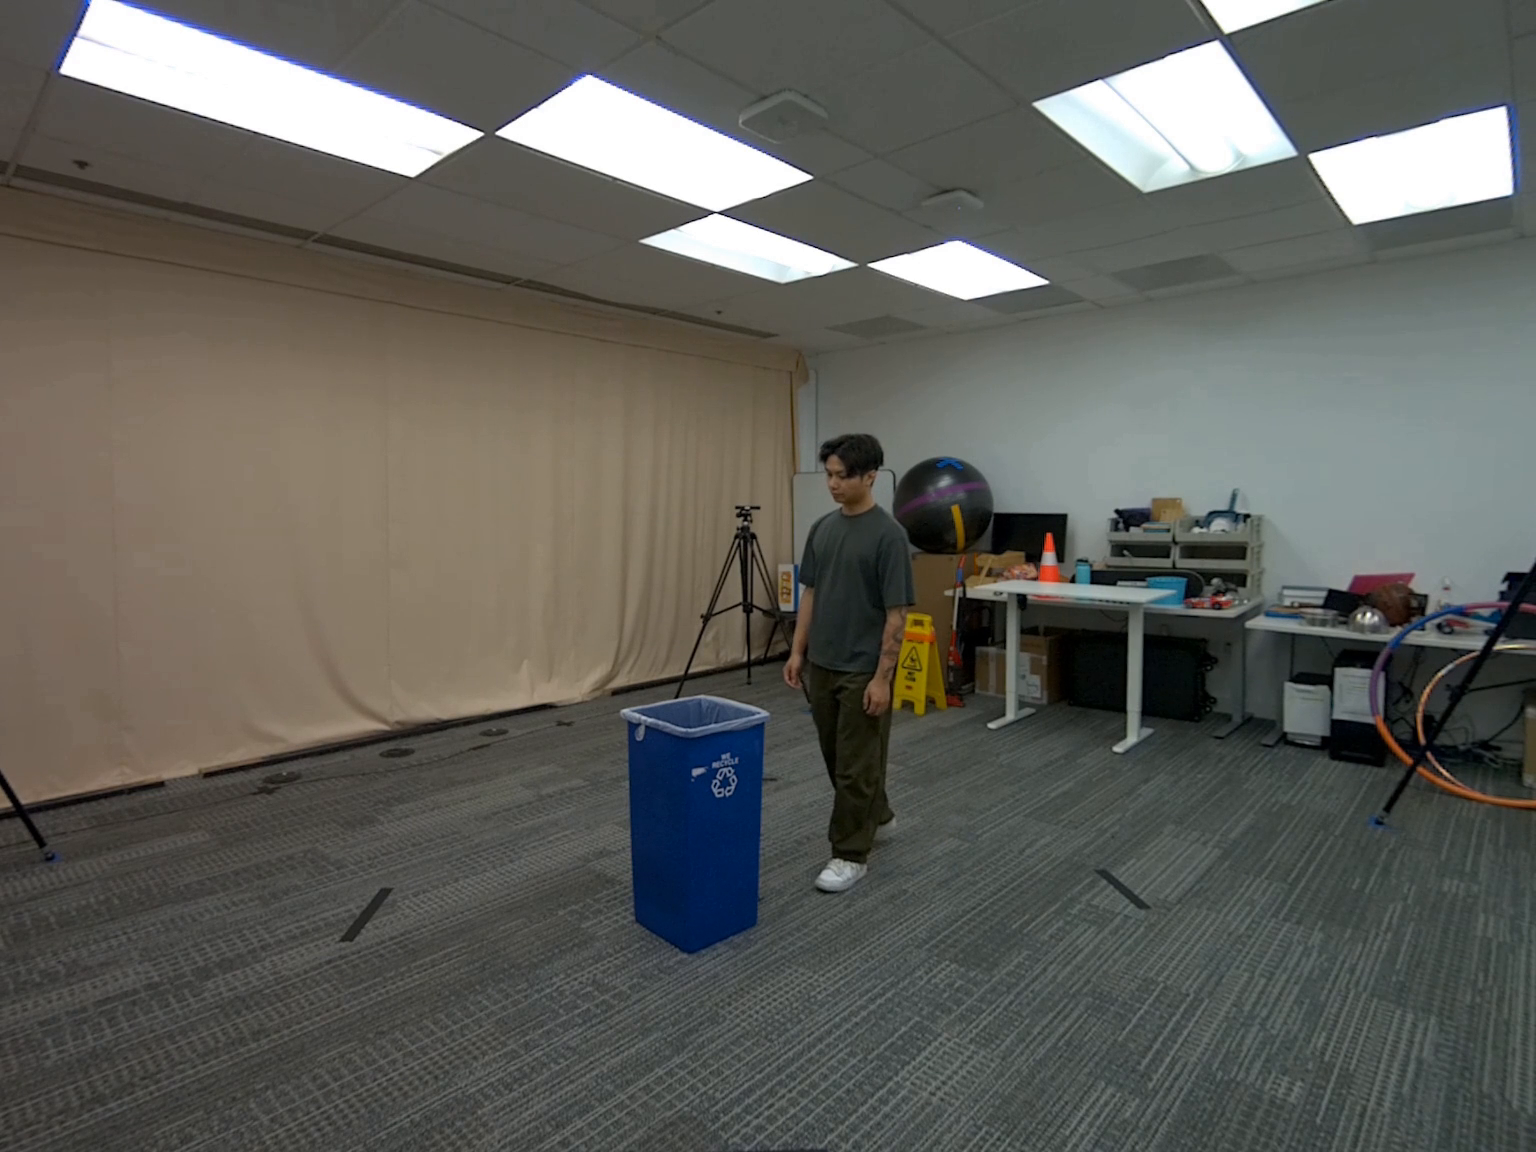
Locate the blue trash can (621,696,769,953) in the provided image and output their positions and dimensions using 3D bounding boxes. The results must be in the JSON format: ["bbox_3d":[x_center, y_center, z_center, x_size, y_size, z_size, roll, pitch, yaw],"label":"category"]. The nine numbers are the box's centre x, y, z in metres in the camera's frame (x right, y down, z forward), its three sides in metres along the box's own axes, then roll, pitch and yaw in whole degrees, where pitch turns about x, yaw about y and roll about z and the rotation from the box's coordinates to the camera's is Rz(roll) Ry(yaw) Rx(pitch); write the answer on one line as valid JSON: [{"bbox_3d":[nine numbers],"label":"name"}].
[{"bbox_3d":[-0.233,0.806,2.797,0.366,0.712,0.386,-2,4,-44],"label":"blue trash can"}]
